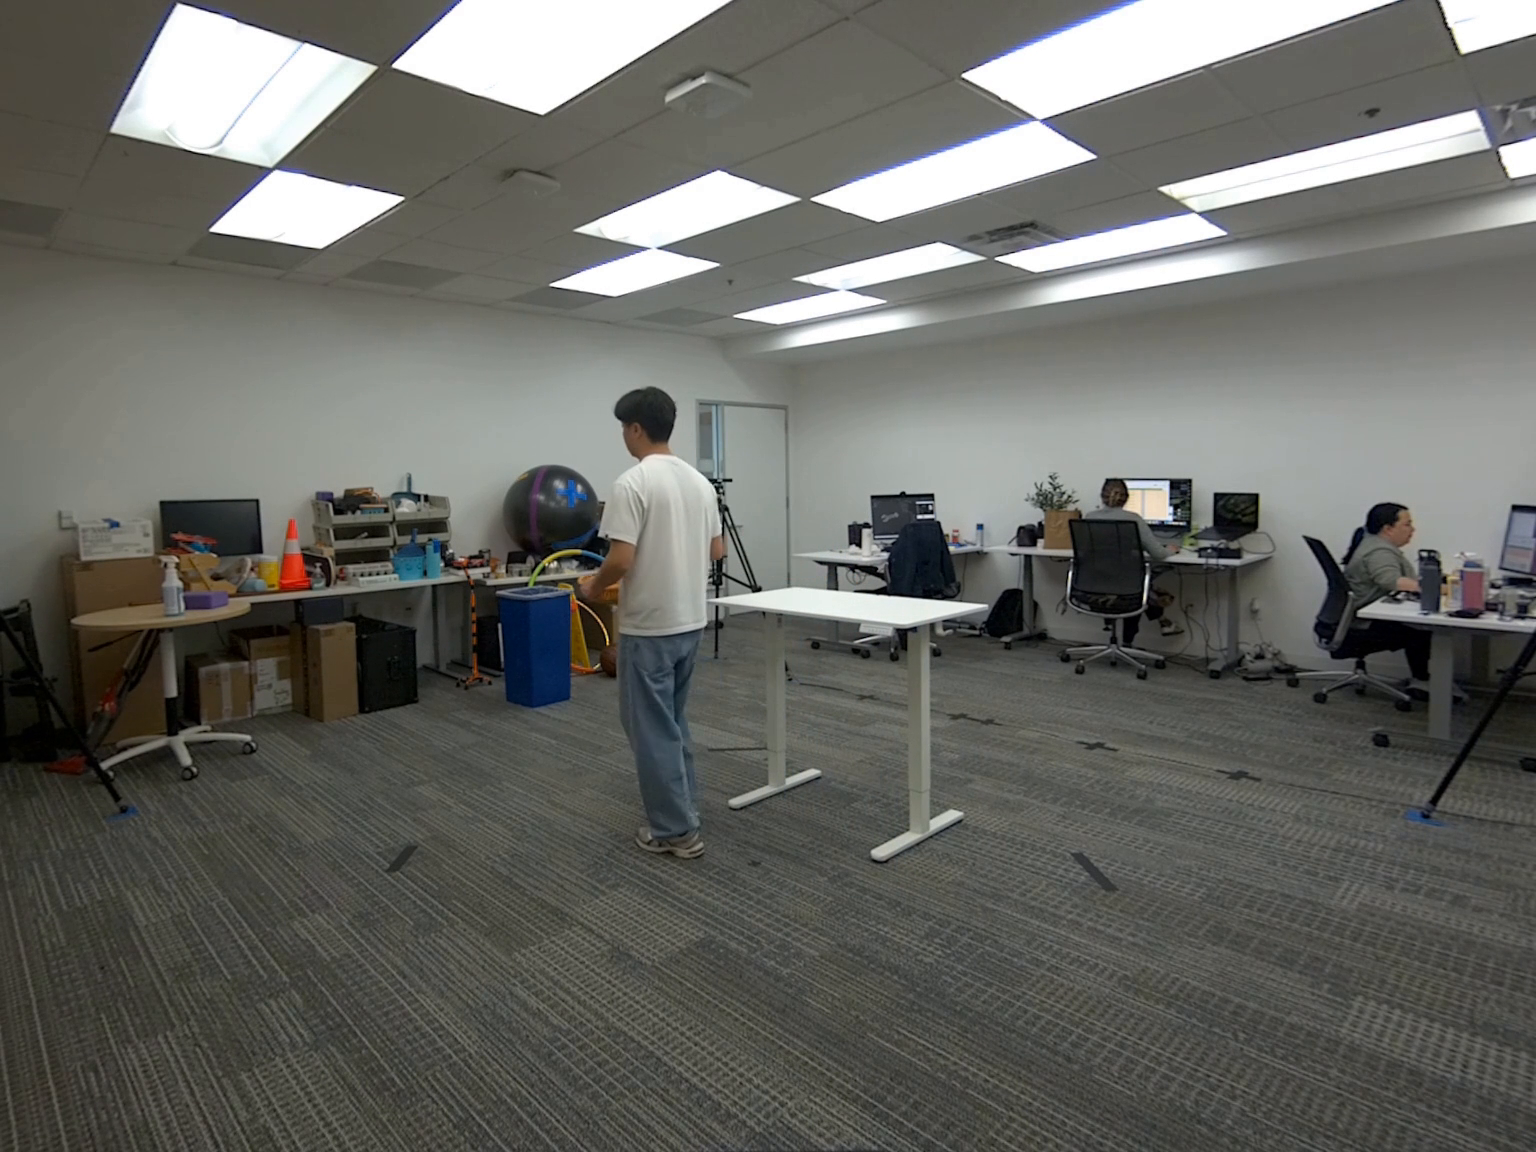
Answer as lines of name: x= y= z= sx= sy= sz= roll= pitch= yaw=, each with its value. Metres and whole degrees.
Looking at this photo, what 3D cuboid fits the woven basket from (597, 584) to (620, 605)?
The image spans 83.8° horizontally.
woven basket: x=-0.587 y=0.047 z=3.426 sx=0.341 sy=0.073 sz=0.261 roll=-8 pitch=15 yaw=-40
